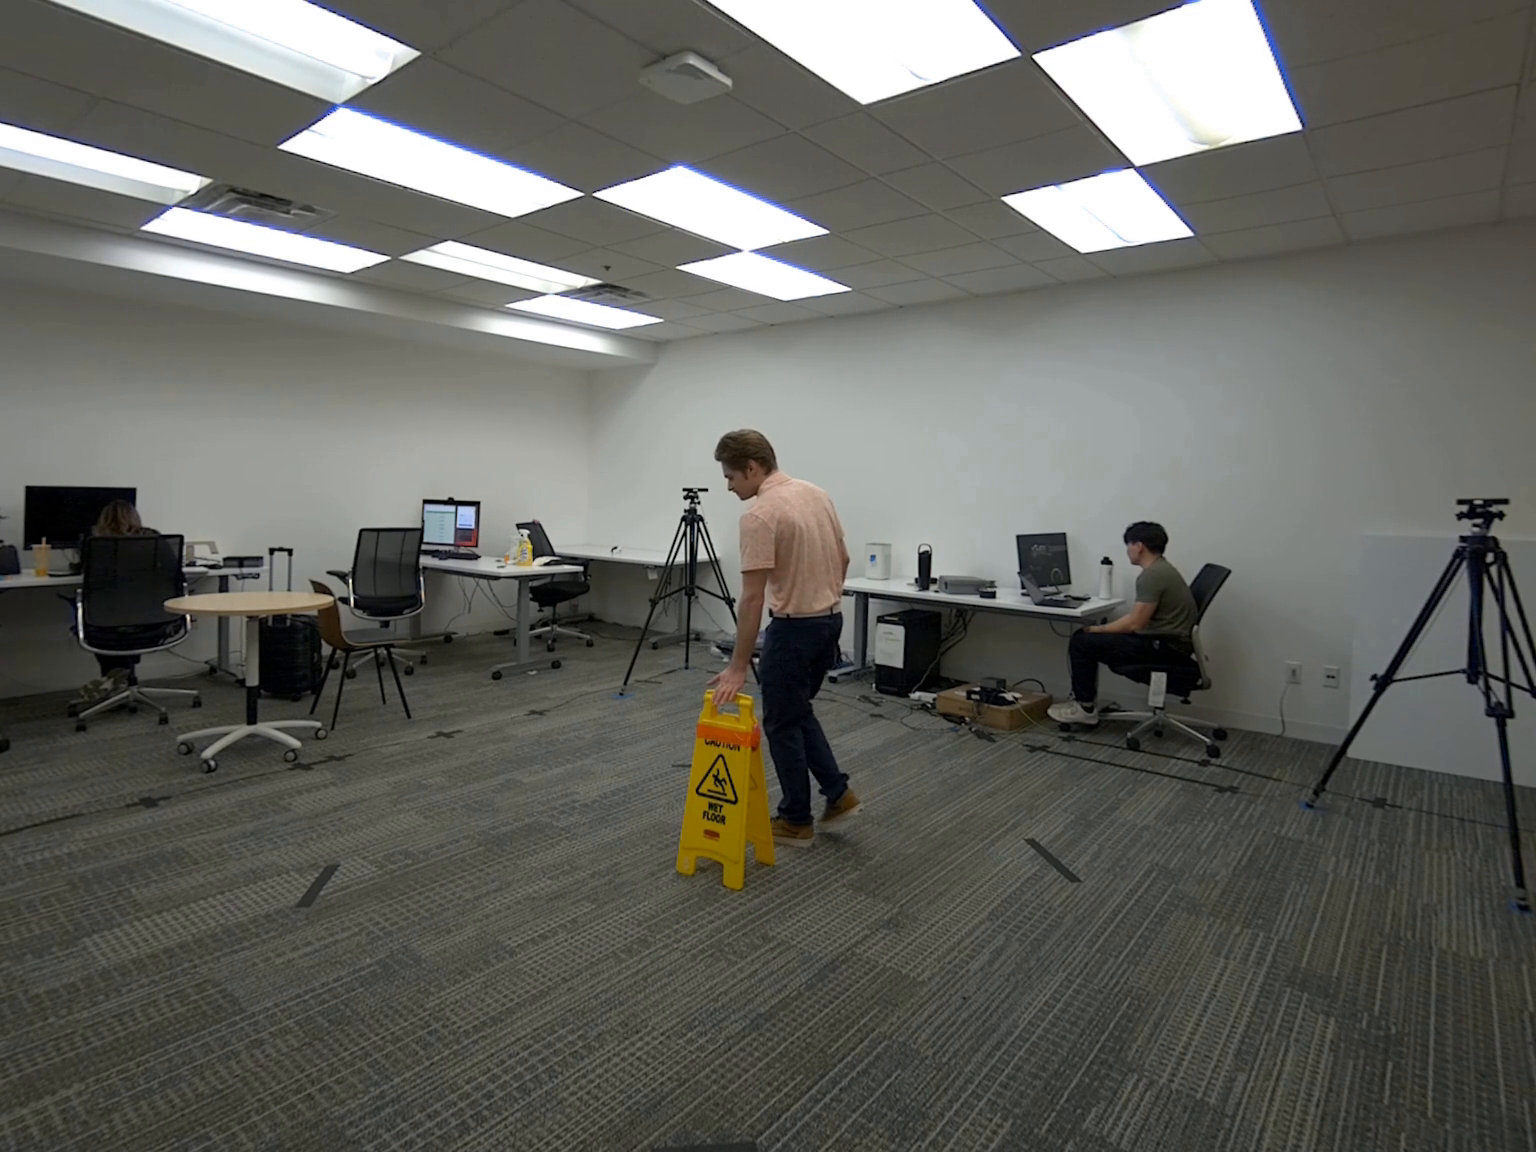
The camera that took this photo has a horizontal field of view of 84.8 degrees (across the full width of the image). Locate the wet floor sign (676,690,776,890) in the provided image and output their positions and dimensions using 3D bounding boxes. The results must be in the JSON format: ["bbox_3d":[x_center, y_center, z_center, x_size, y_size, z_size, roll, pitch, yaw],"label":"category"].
[{"bbox_3d":[-0.159,0.746,3.105,0.290,0.644,0.282,2,3,30],"label":"wet floor sign"}]
